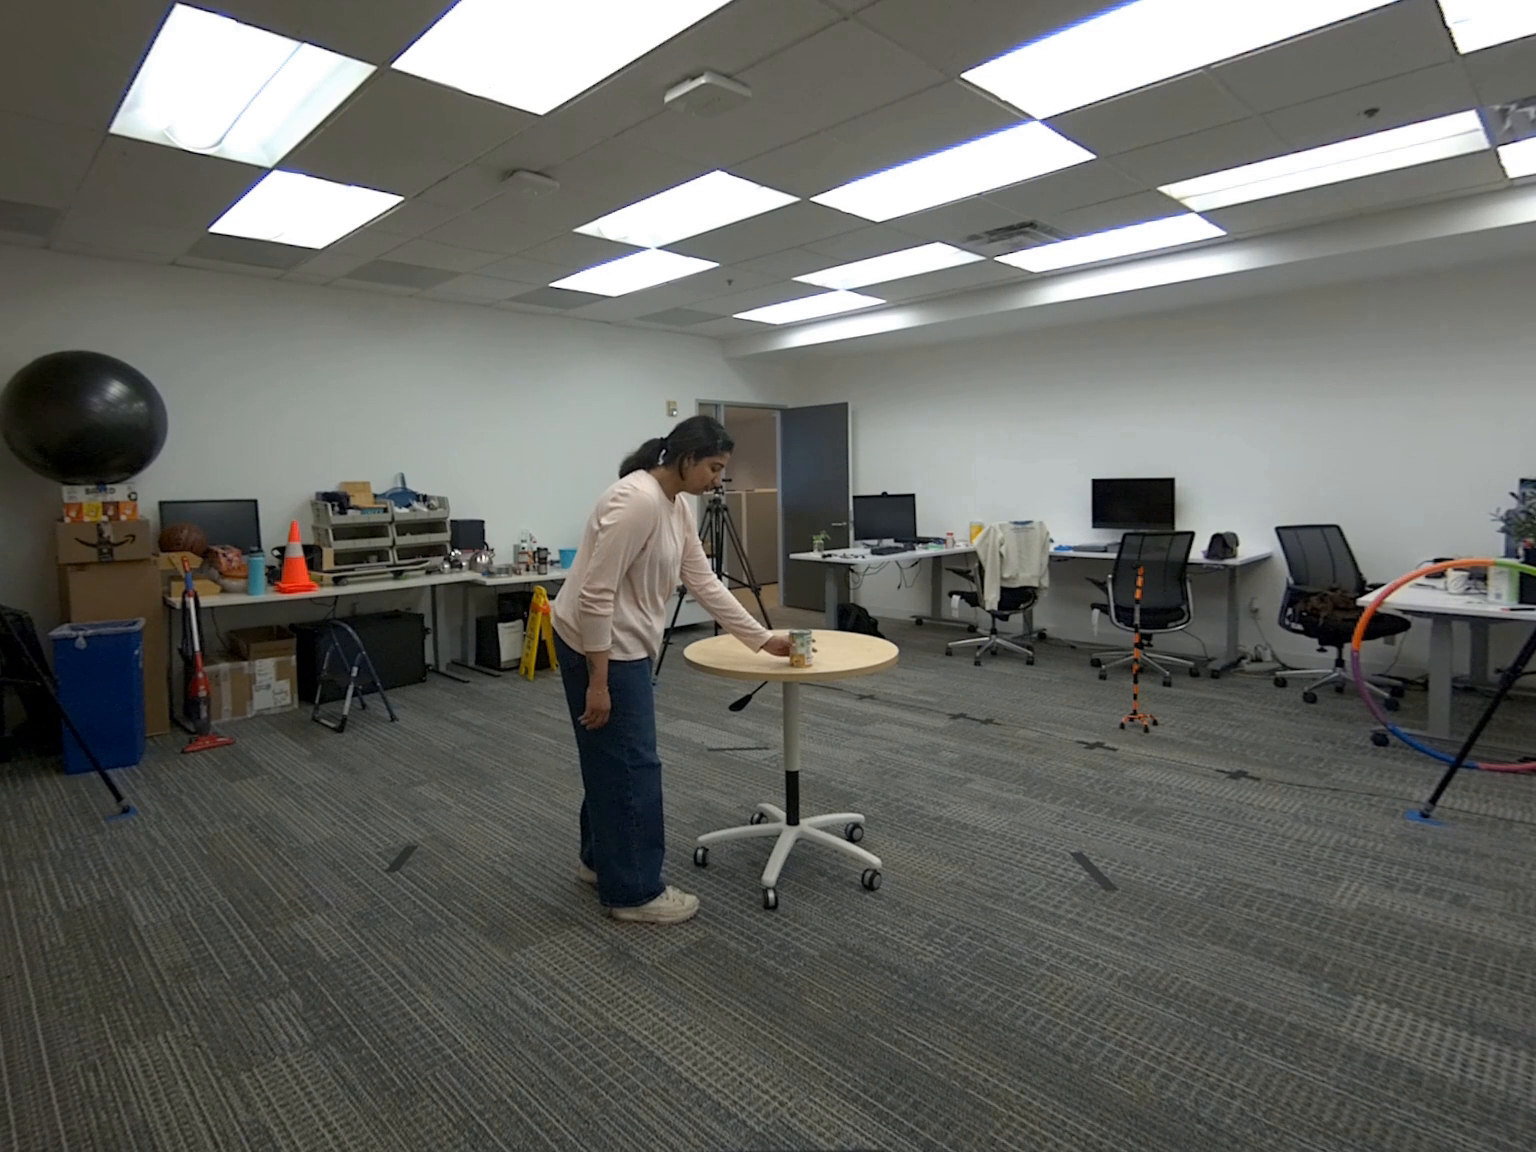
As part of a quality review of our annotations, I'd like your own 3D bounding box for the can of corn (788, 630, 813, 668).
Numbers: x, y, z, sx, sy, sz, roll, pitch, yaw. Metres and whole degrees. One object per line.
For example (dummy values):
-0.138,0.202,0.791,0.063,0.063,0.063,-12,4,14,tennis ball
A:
0.103,0.235,2.789,0.074,0.111,0.074,0,3,-2,can of corn
